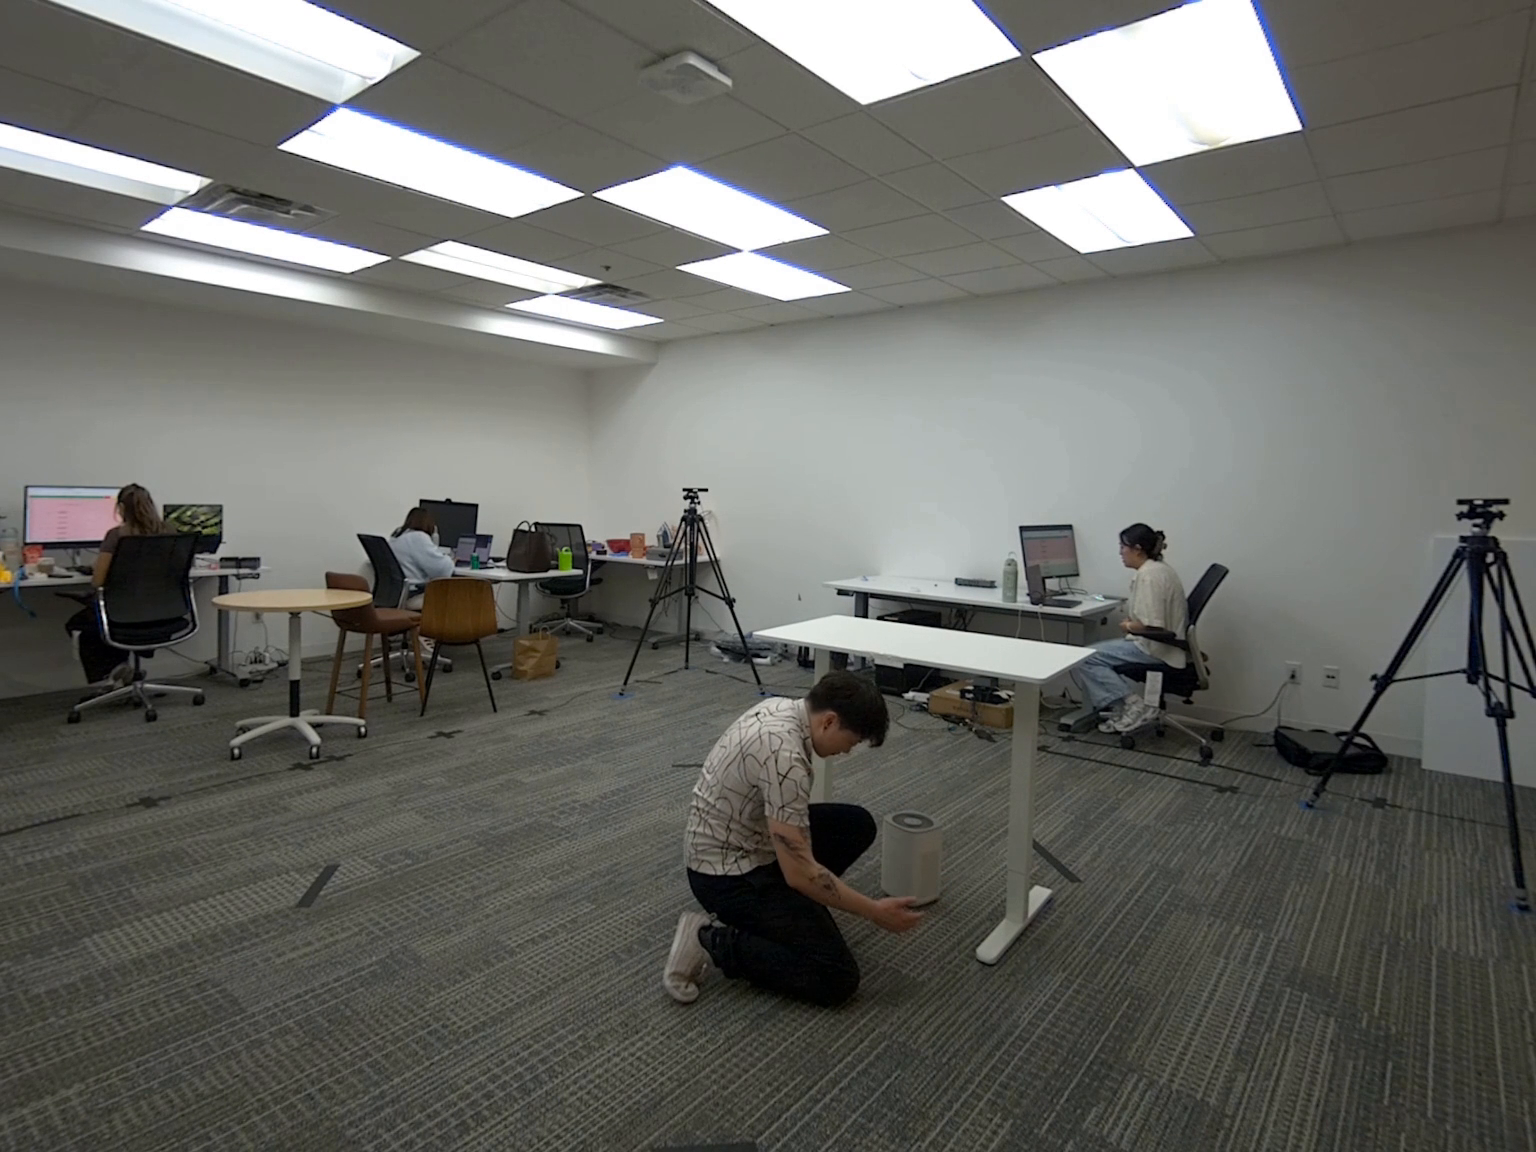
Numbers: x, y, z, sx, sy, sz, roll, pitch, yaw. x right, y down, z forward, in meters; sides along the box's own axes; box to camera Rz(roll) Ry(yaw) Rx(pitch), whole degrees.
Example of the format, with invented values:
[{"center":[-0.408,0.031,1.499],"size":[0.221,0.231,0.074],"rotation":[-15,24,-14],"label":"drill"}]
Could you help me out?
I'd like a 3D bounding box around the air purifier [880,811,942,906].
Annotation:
[{"center":[0.490,0.973,2.927],"size":[0.166,0.264,0.177],"rotation":[-1,5,-38],"label":"air purifier"}]
